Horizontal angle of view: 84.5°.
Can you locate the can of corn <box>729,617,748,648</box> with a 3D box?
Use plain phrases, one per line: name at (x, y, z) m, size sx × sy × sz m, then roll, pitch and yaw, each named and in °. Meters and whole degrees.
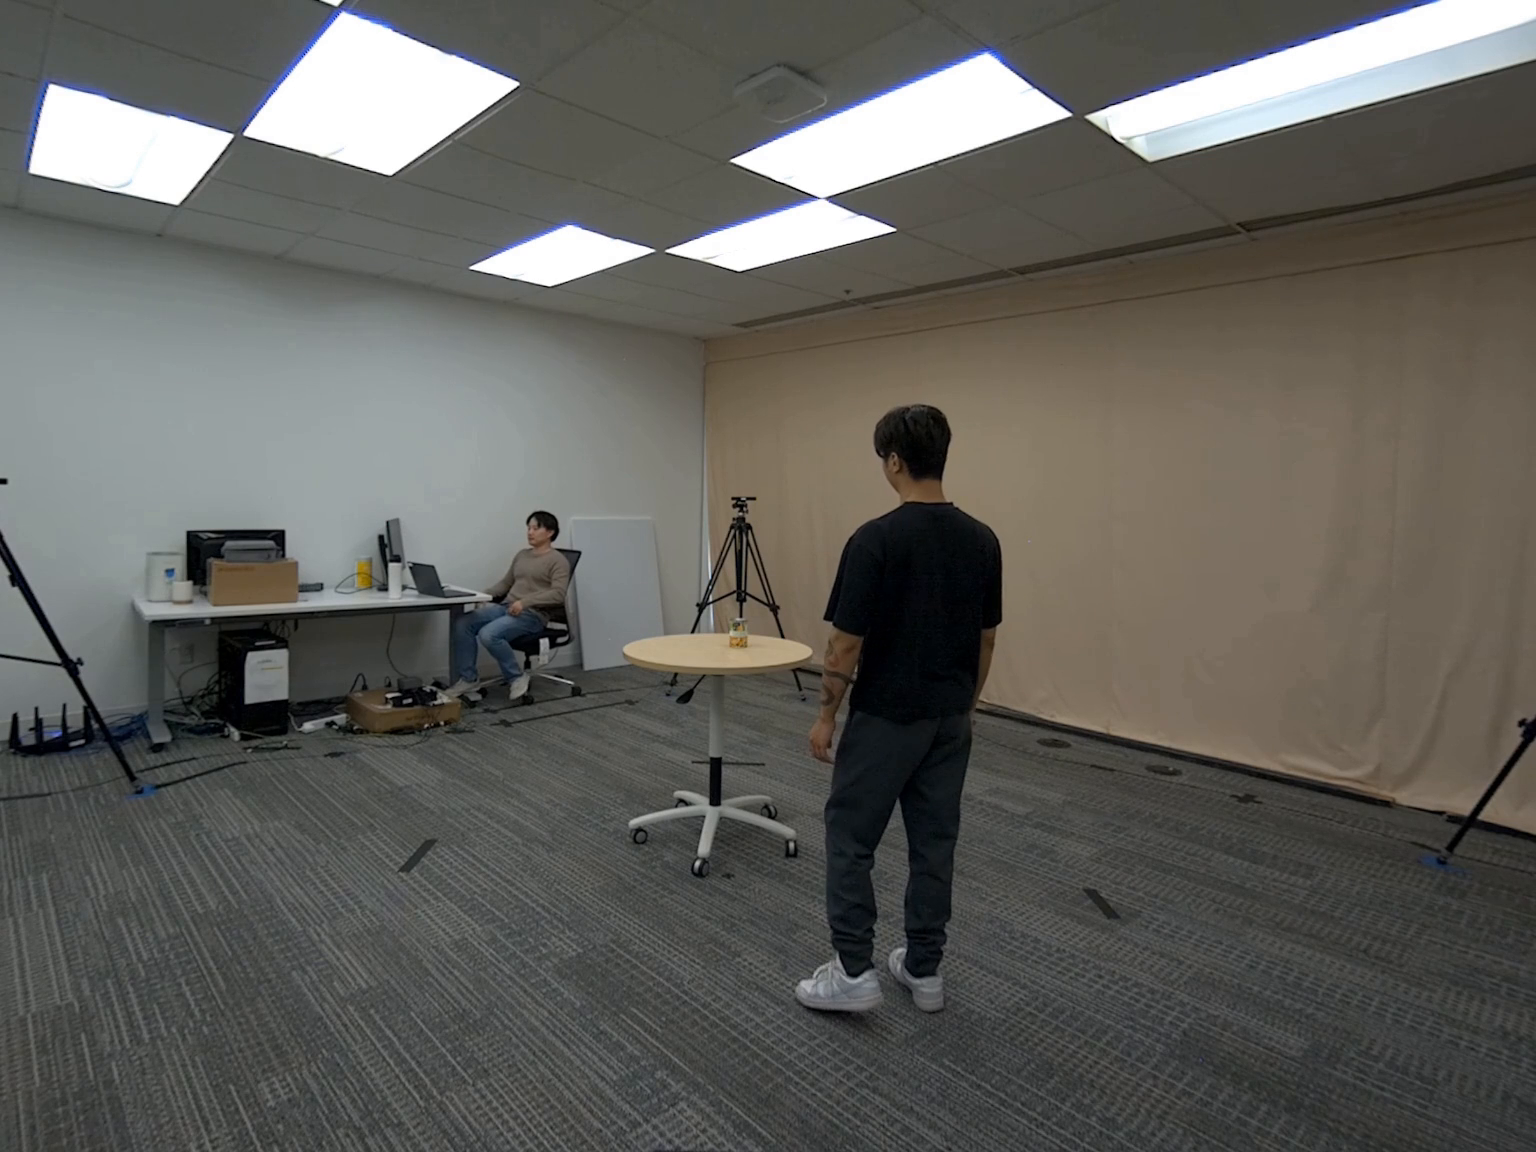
can of corn at (-0.128, 0.236, 3.468) m, size 0.074 × 0.111 × 0.074 m, roll 3°, pitch 2°, yaw -1°
